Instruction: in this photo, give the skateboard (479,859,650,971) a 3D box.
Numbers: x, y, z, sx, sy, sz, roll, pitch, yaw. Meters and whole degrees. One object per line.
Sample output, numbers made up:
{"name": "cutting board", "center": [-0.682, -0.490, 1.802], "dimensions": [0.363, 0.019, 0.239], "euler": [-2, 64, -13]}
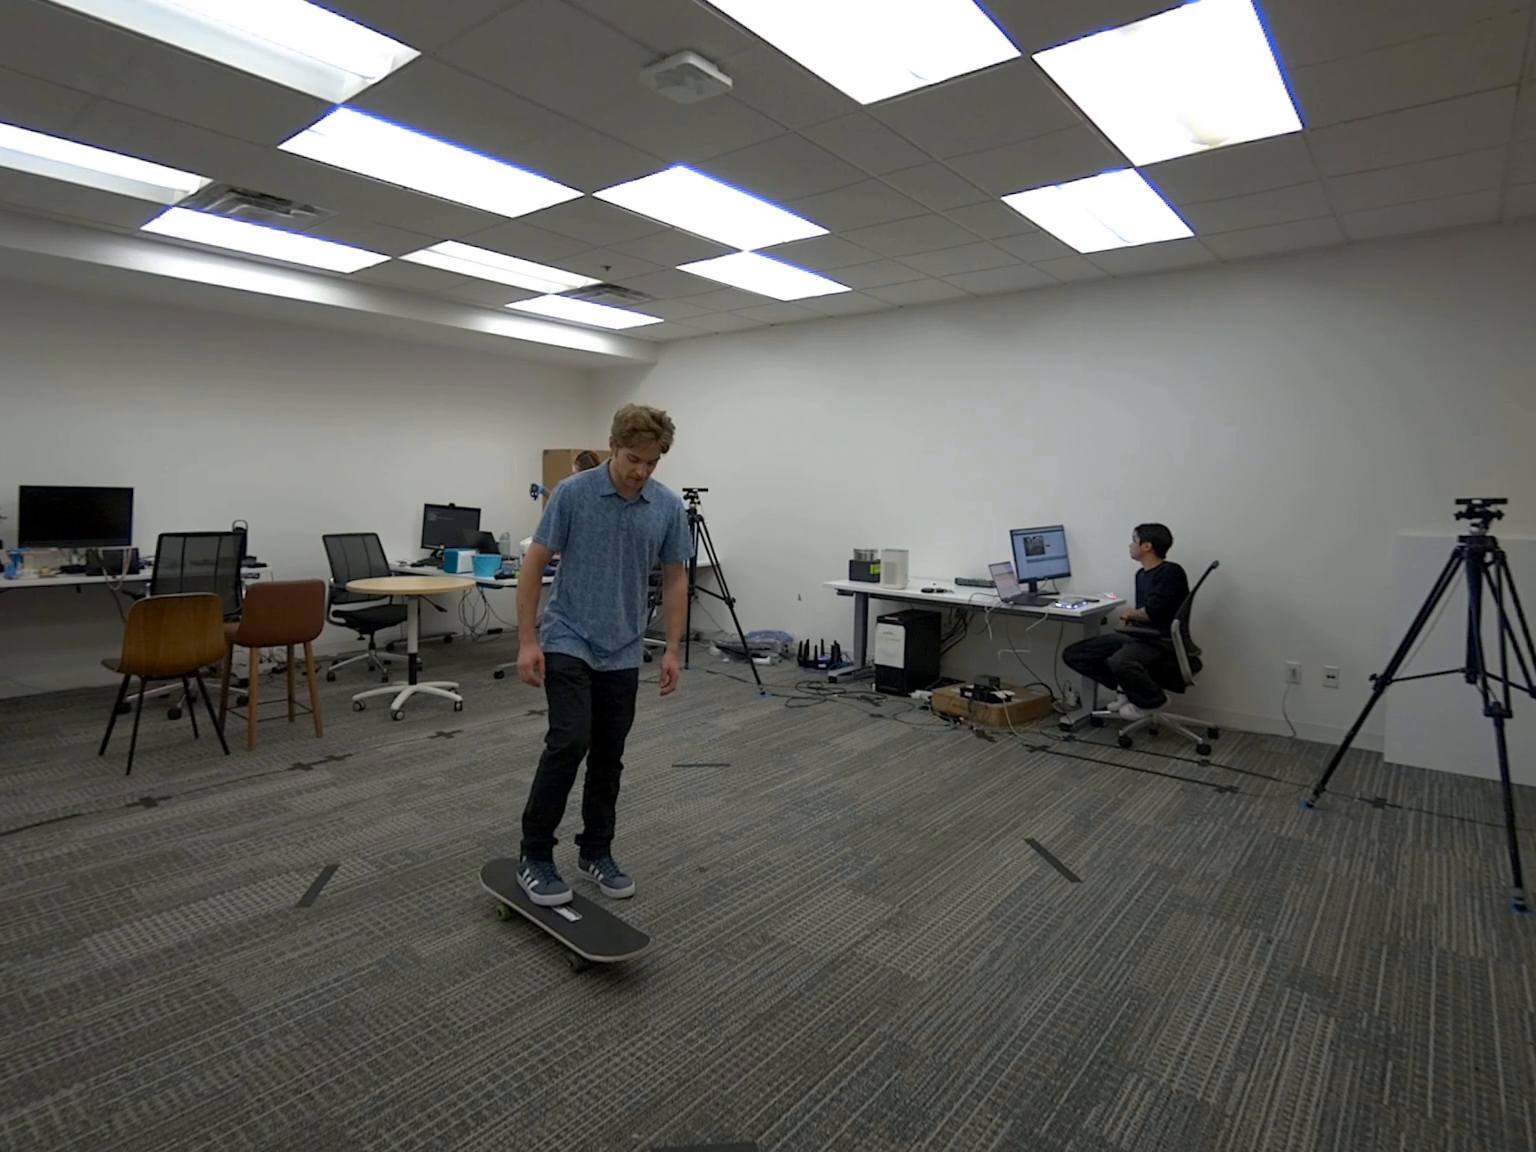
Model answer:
{"name": "skateboard", "center": [-0.658, 1.051, 2.633], "dimensions": [0.812, 0.110, 0.188], "euler": [6, 8, 43]}
